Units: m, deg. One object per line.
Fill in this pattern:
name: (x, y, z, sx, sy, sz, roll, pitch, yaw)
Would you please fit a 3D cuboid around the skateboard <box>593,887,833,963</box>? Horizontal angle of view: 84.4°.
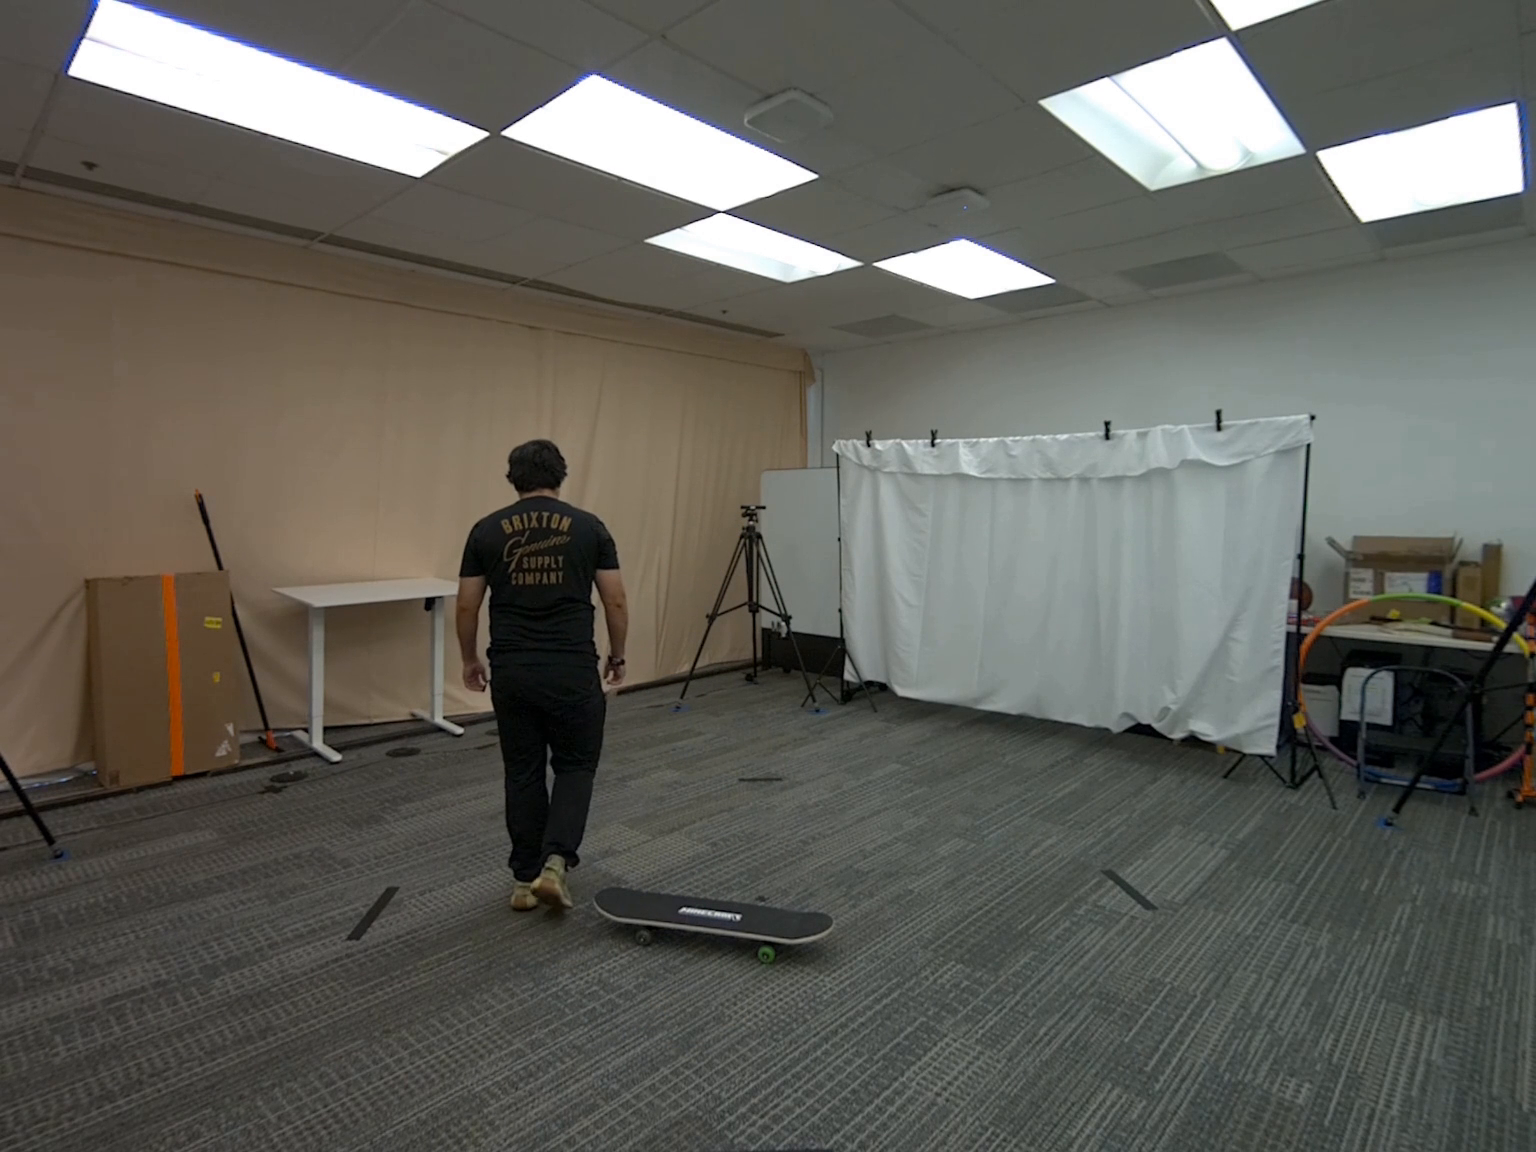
skateboard: (-0.183, 1.112, 2.691, 0.798, 0.110, 0.191, 0, 3, 15)
